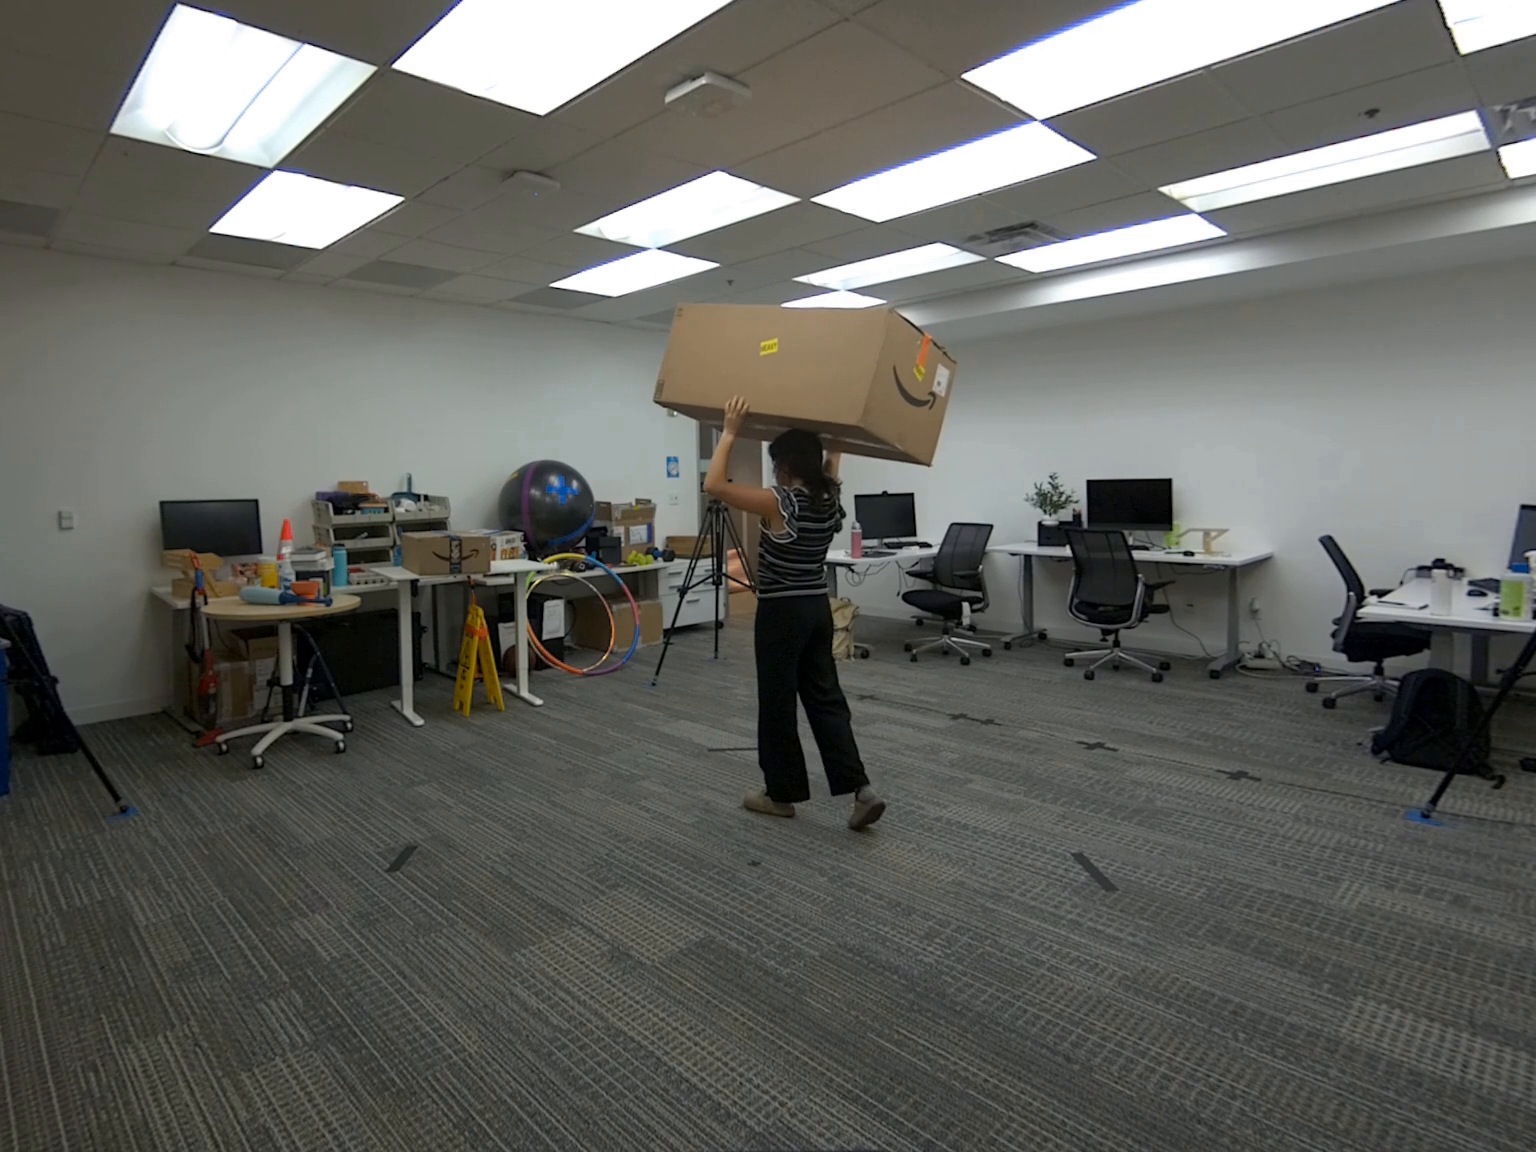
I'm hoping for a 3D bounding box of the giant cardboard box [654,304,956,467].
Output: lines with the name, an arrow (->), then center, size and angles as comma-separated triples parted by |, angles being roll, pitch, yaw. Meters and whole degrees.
giant cardboard box -> 0.130, -0.775, 3.441 | 1.061, 0.426, 0.558 | 15, 1, 38
